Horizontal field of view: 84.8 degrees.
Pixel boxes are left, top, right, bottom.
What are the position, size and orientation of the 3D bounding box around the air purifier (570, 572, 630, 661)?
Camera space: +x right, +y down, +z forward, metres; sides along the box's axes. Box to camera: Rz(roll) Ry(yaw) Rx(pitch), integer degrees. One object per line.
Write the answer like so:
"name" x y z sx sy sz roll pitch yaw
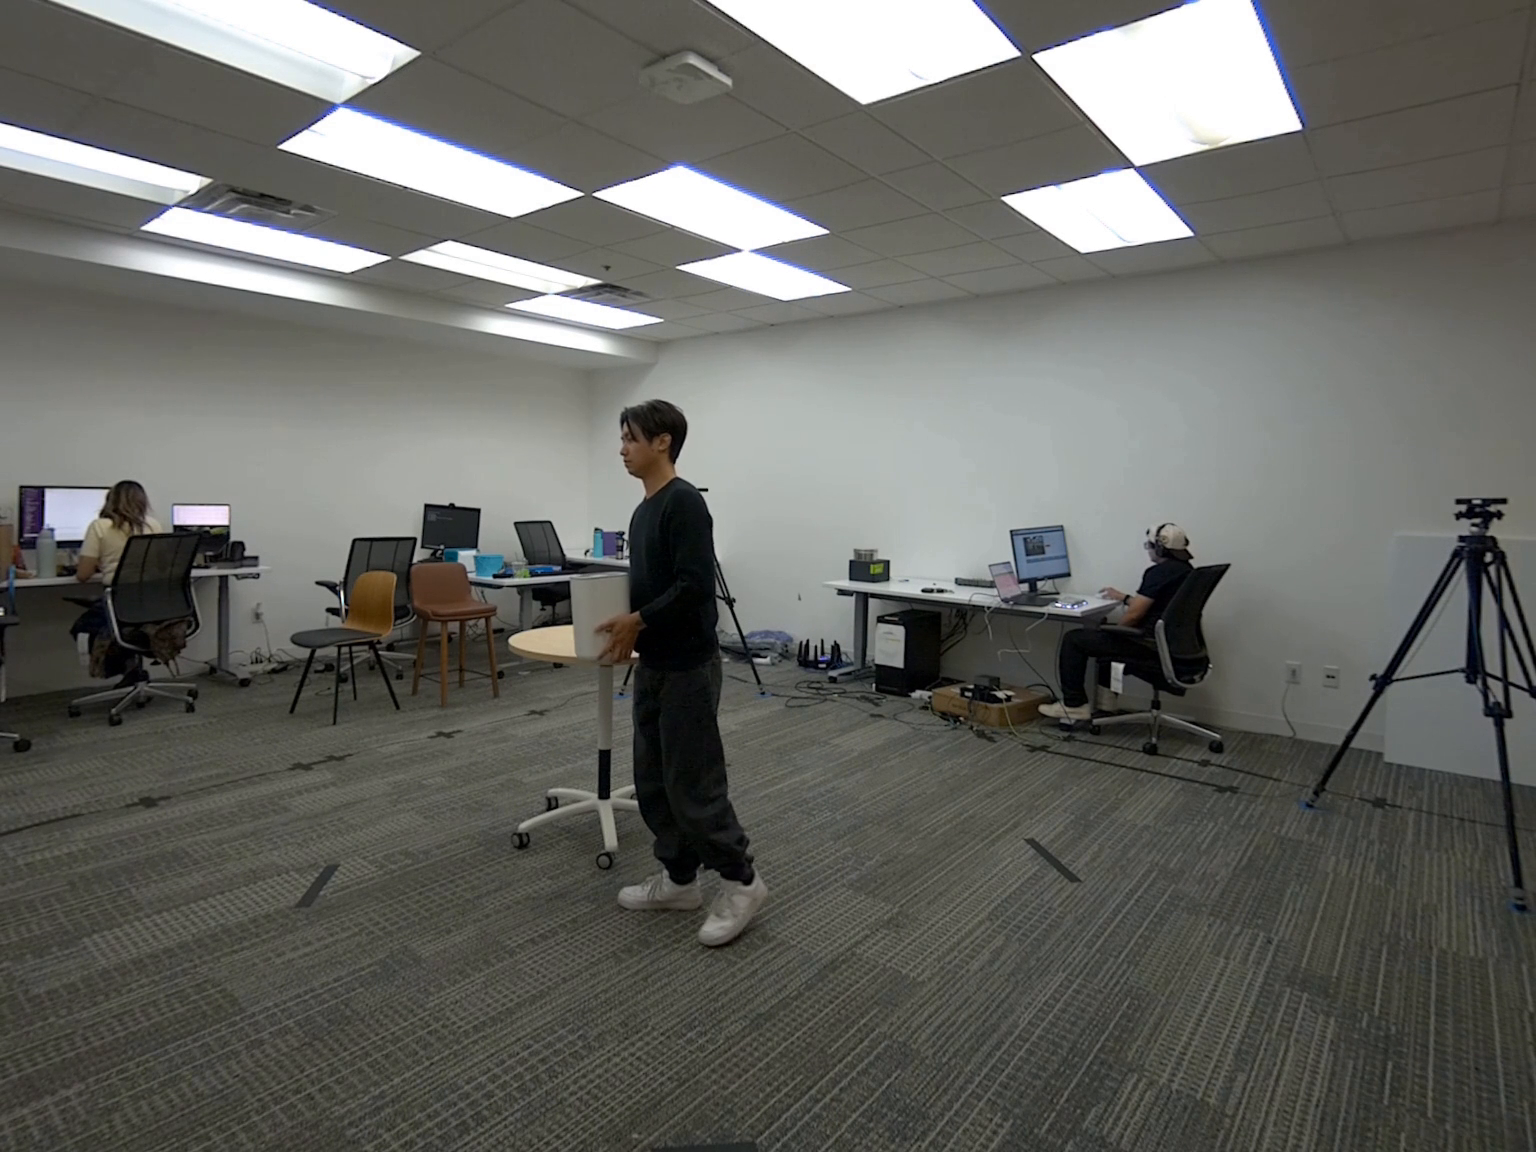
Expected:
"air purifier" -0.537 0.123 2.707 0.169 0.265 0.174 -4 2 -11
